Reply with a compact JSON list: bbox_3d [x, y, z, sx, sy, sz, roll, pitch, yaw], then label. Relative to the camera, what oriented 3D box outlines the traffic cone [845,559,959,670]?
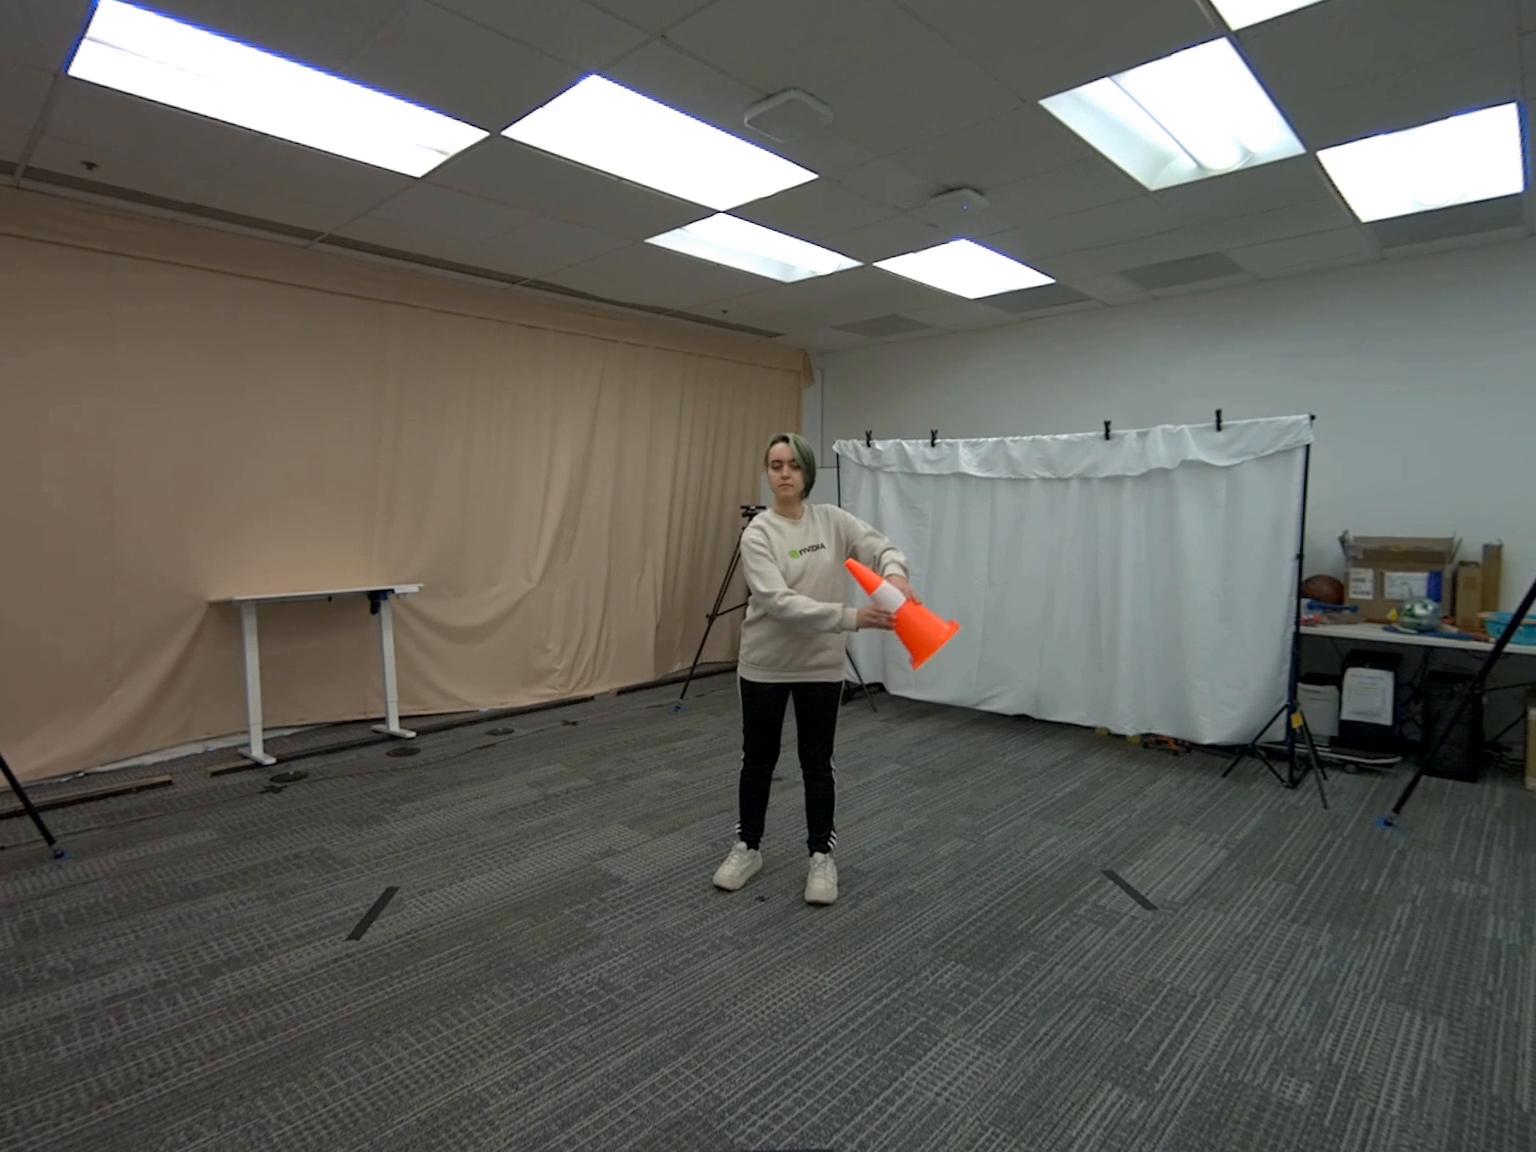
[{"bbox_3d":[0.383,0.090,2.678,0.384,0.206,0.202,44,14,0],"label":"traffic cone"}]
